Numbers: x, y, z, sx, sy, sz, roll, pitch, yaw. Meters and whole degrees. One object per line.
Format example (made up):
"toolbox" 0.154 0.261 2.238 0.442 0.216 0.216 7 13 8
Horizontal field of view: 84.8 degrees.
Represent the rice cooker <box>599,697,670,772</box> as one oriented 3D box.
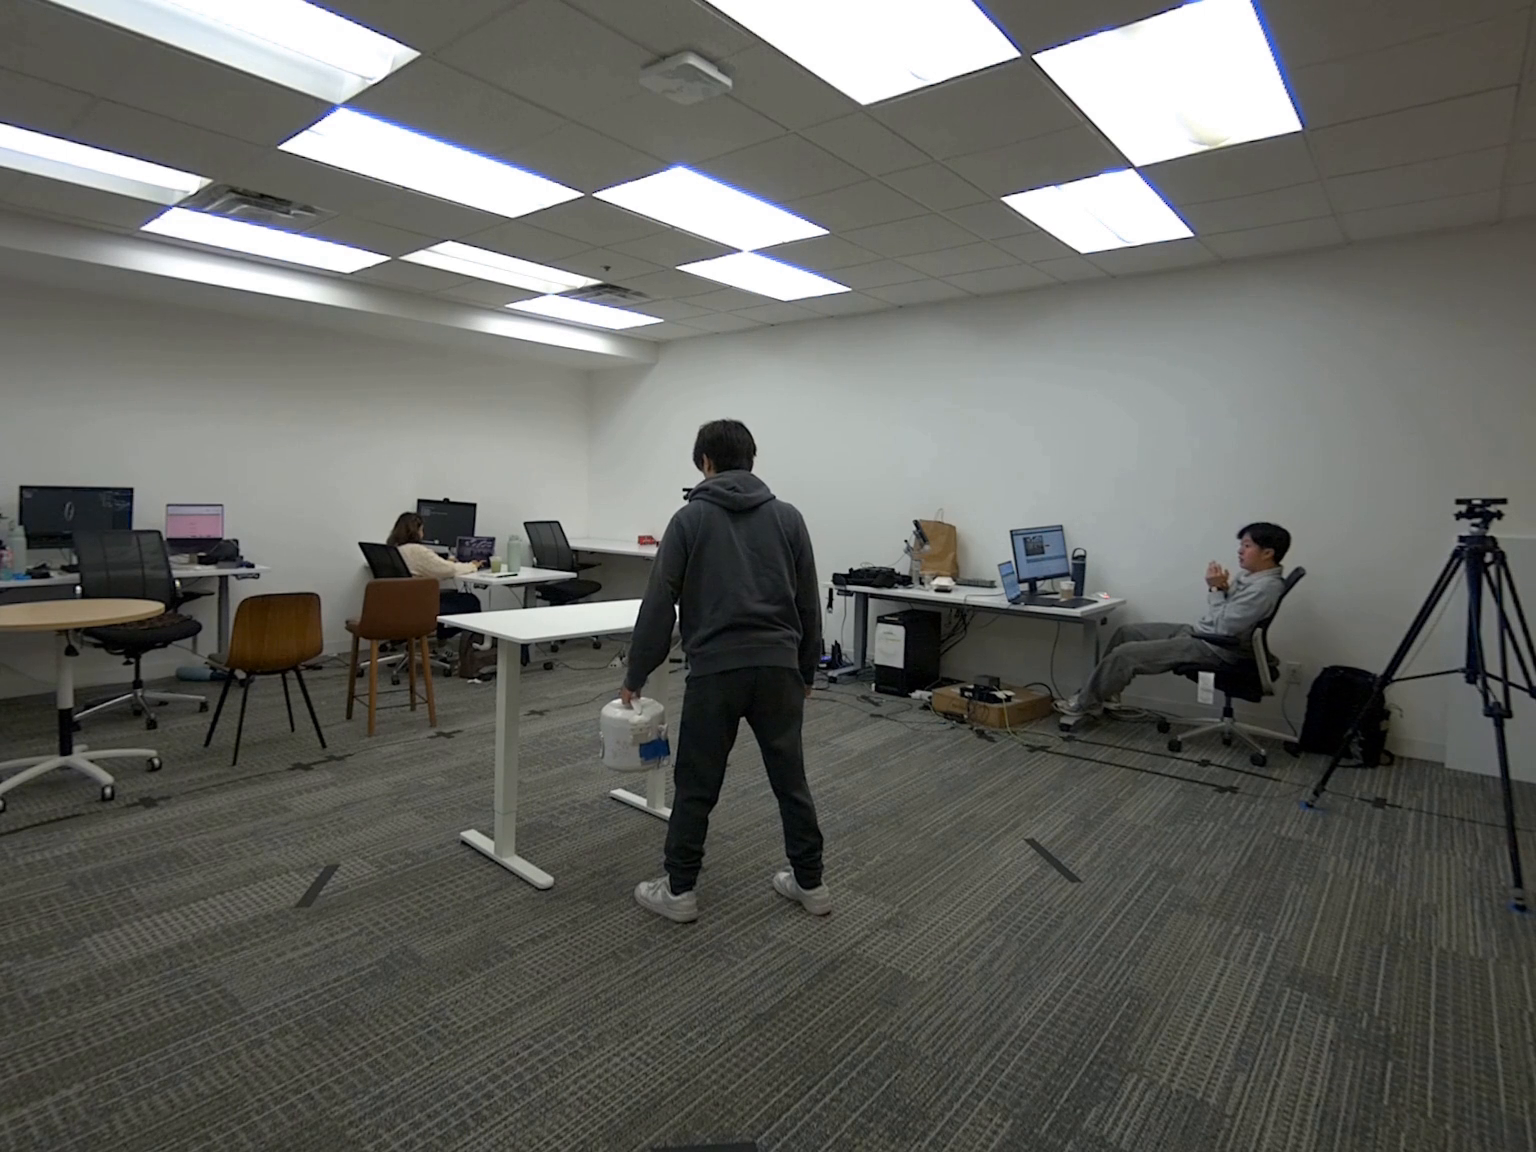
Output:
"rice cooker" -0.461 0.504 2.792 0.213 0.231 0.226 -2 6 -20
